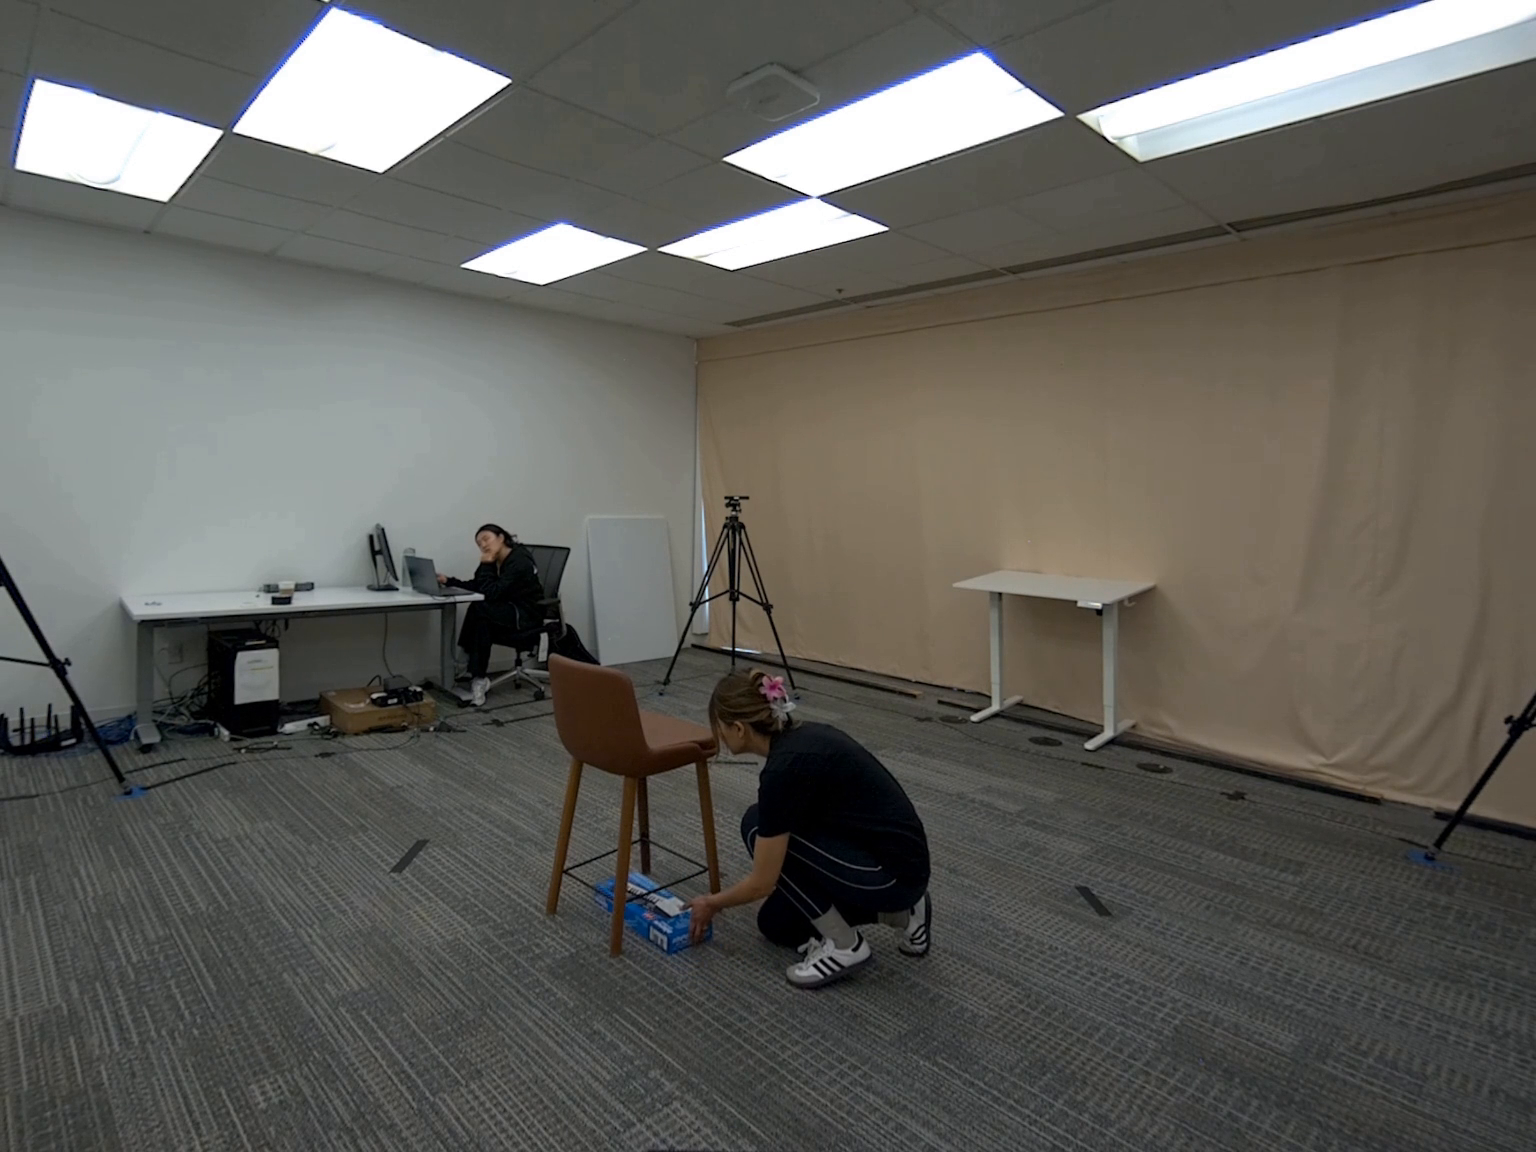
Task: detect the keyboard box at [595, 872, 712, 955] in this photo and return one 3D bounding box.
[{"bbox_3d":[-0.385,1.095,2.773,0.172,0.059,0.448,-3,6,-41],"label":"keyboard box"}]
